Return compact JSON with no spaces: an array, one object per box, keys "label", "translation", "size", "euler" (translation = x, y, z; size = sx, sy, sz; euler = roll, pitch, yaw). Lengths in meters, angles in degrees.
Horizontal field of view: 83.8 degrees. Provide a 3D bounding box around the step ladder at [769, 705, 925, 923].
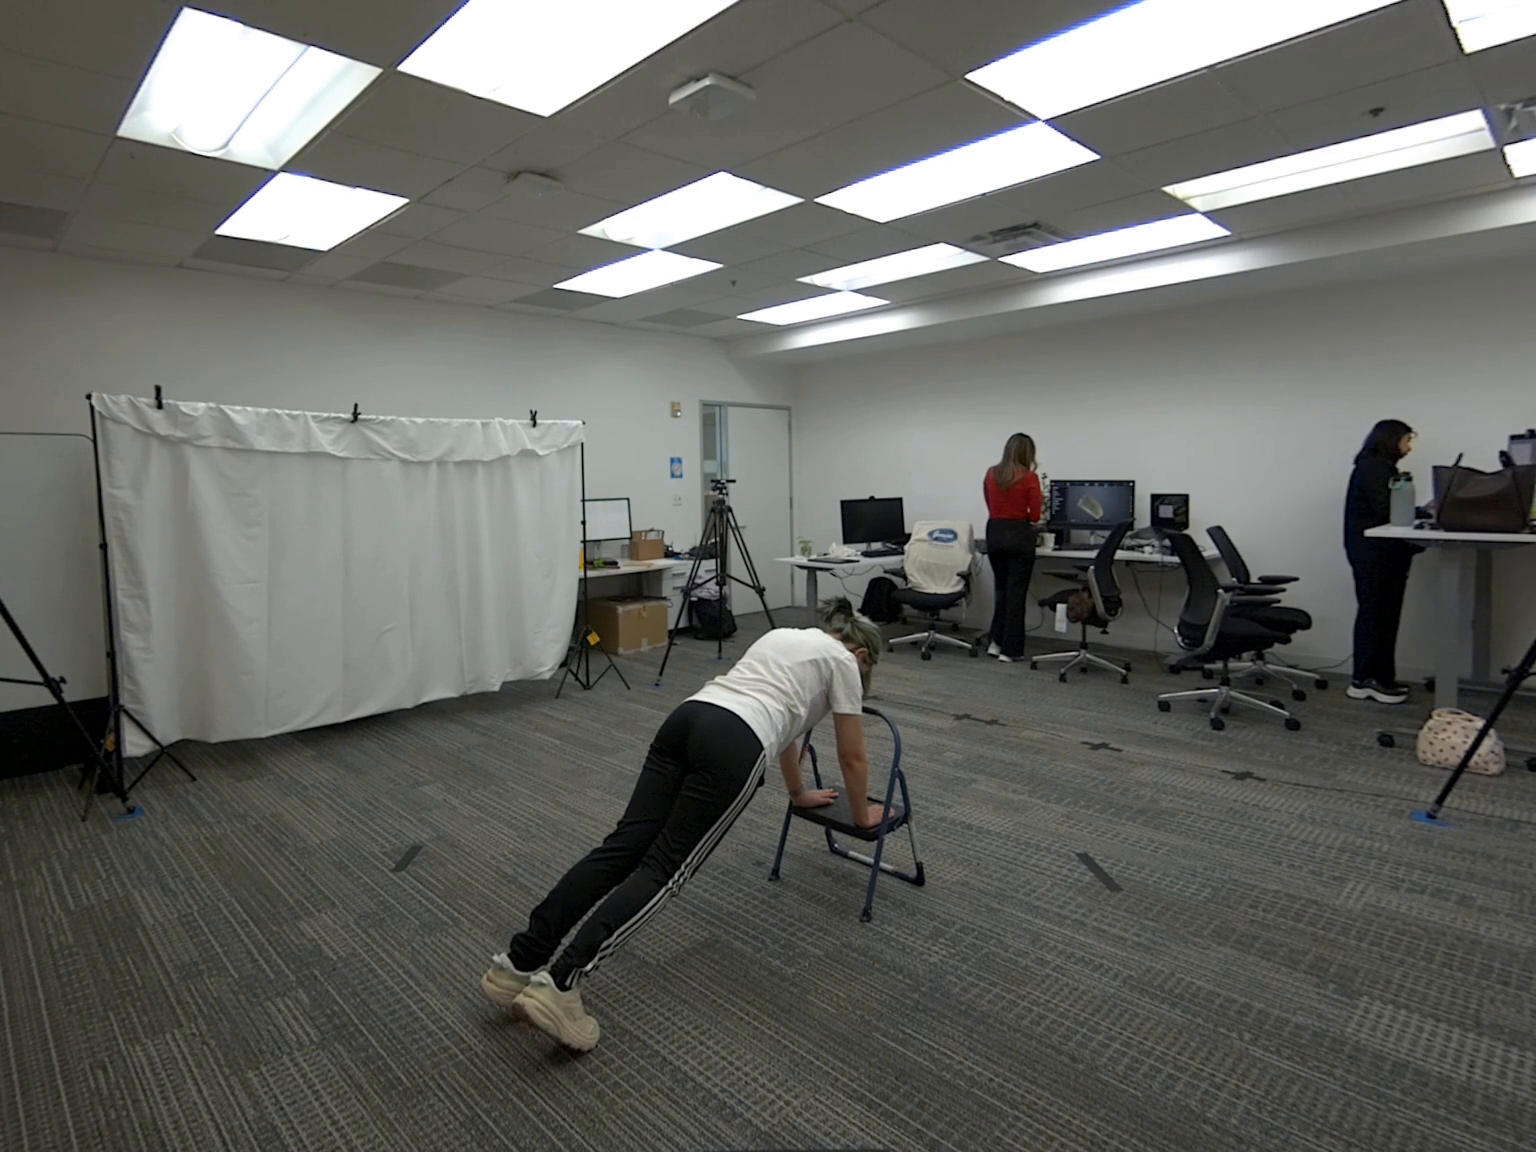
[{"label":"step ladder","translation":[0.271,0.758,2.938],"size":[0.444,0.604,0.340],"euler":[4,6,45]}]
